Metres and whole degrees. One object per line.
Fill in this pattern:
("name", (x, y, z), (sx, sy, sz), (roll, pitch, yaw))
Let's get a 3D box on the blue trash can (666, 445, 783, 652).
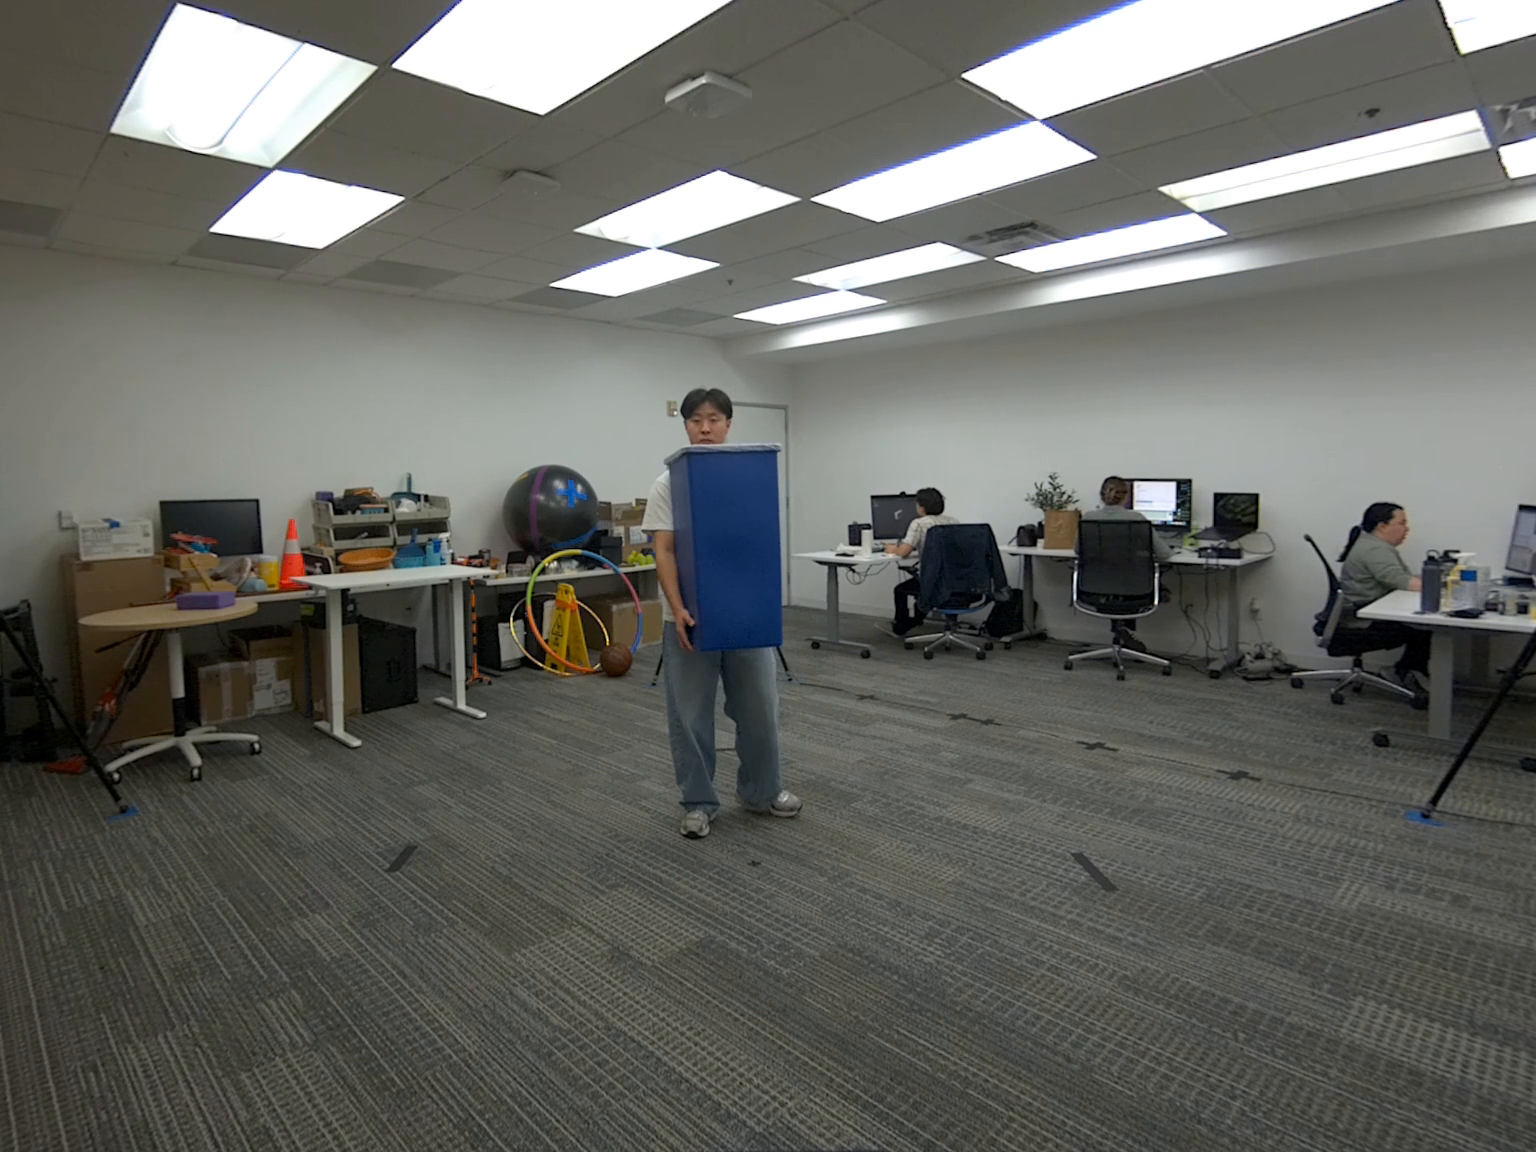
("blue trash can", (-0.154, -0.105, 3.129), (0.368, 0.715, 0.383), (-2, -2, -18))
